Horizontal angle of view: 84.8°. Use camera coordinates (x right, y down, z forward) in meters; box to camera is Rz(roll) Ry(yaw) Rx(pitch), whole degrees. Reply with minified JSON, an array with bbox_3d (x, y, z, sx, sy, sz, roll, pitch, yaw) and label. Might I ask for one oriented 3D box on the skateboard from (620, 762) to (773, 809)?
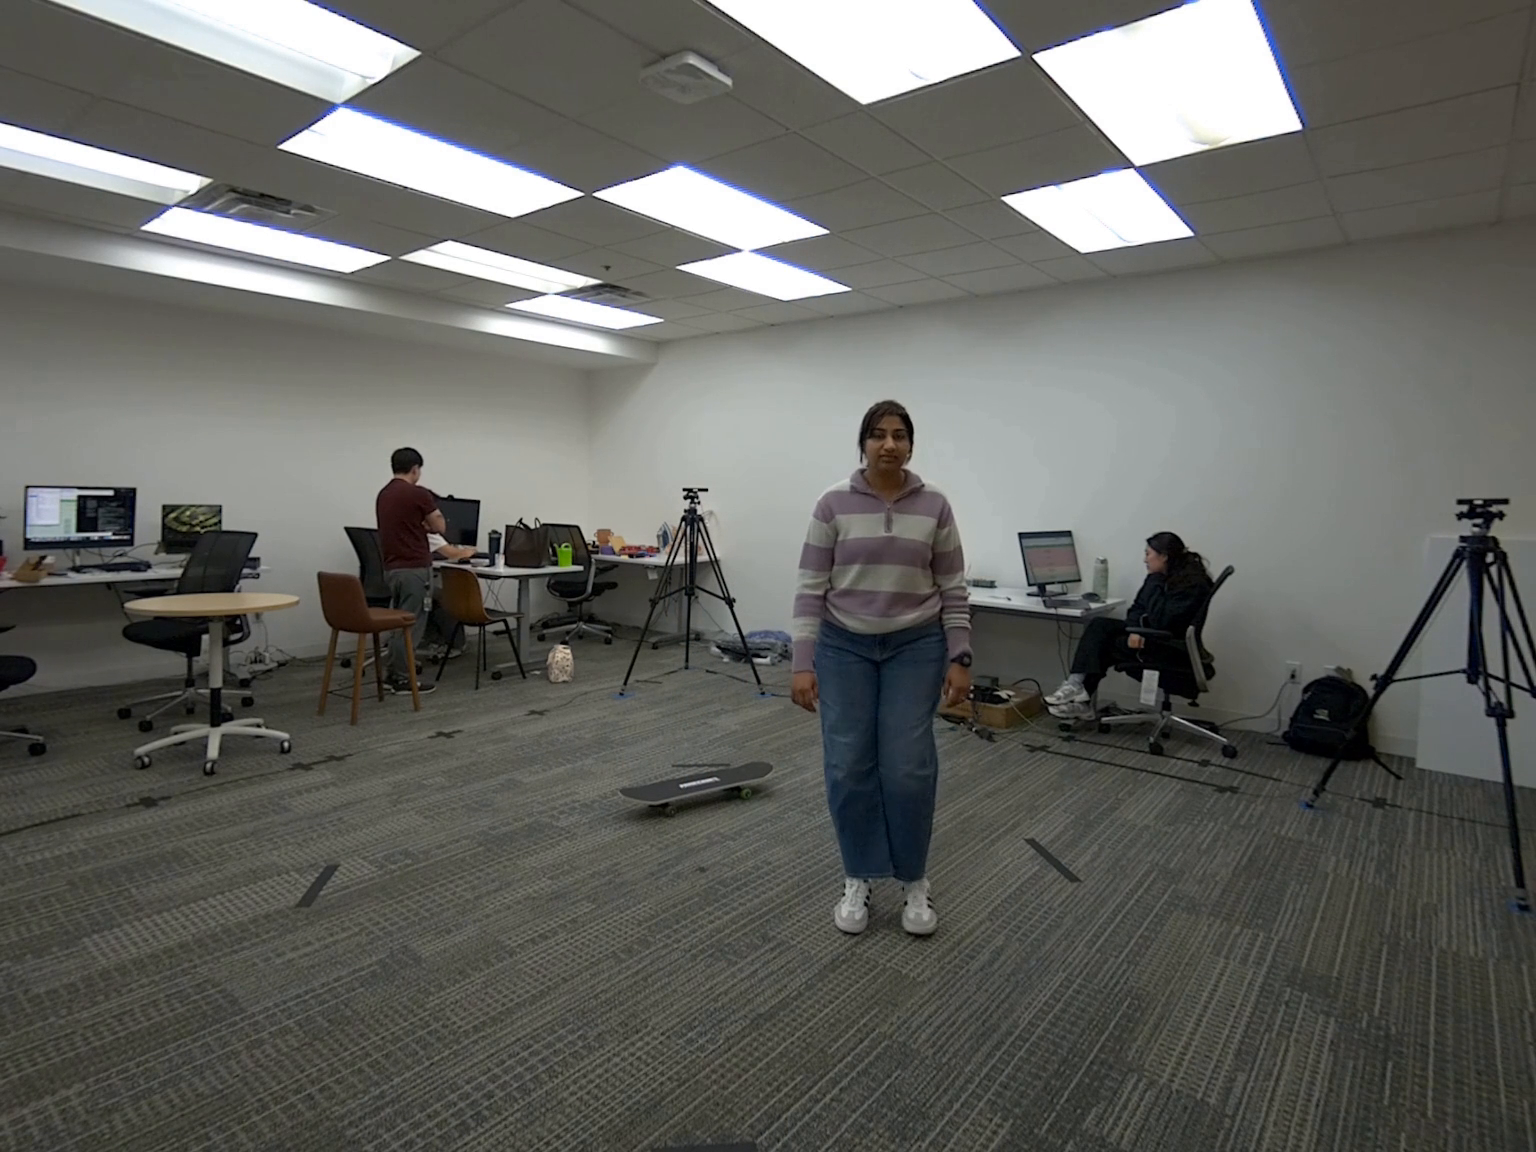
[{"bbox_3d":[-0.313,0.945,3.776,0.763,0.110,0.200,-3,7,-35],"label":"skateboard"}]
